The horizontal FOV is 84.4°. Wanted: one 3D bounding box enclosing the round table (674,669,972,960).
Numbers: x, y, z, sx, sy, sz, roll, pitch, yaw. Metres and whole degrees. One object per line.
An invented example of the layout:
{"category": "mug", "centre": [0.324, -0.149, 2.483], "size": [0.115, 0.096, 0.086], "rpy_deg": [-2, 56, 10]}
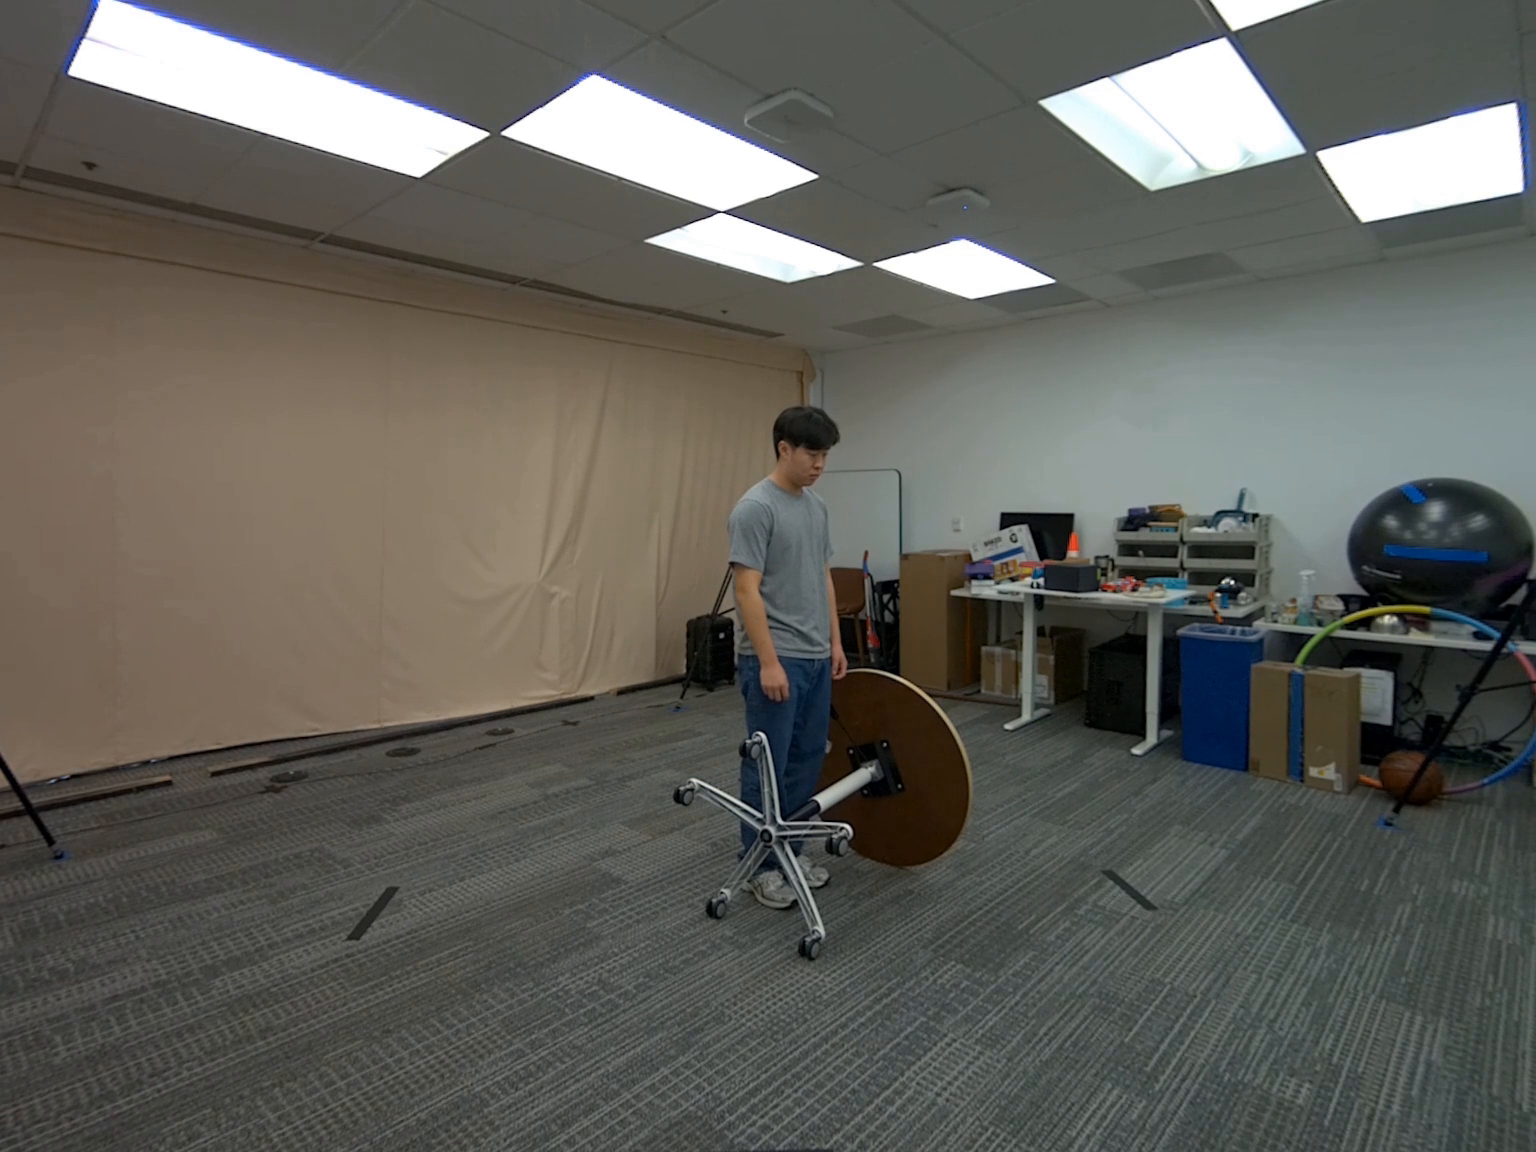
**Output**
{"category": "round table", "centre": [0.200, 0.805, 2.957], "size": [0.789, 0.760, 0.772], "rpy_deg": [3, 11, 40]}
